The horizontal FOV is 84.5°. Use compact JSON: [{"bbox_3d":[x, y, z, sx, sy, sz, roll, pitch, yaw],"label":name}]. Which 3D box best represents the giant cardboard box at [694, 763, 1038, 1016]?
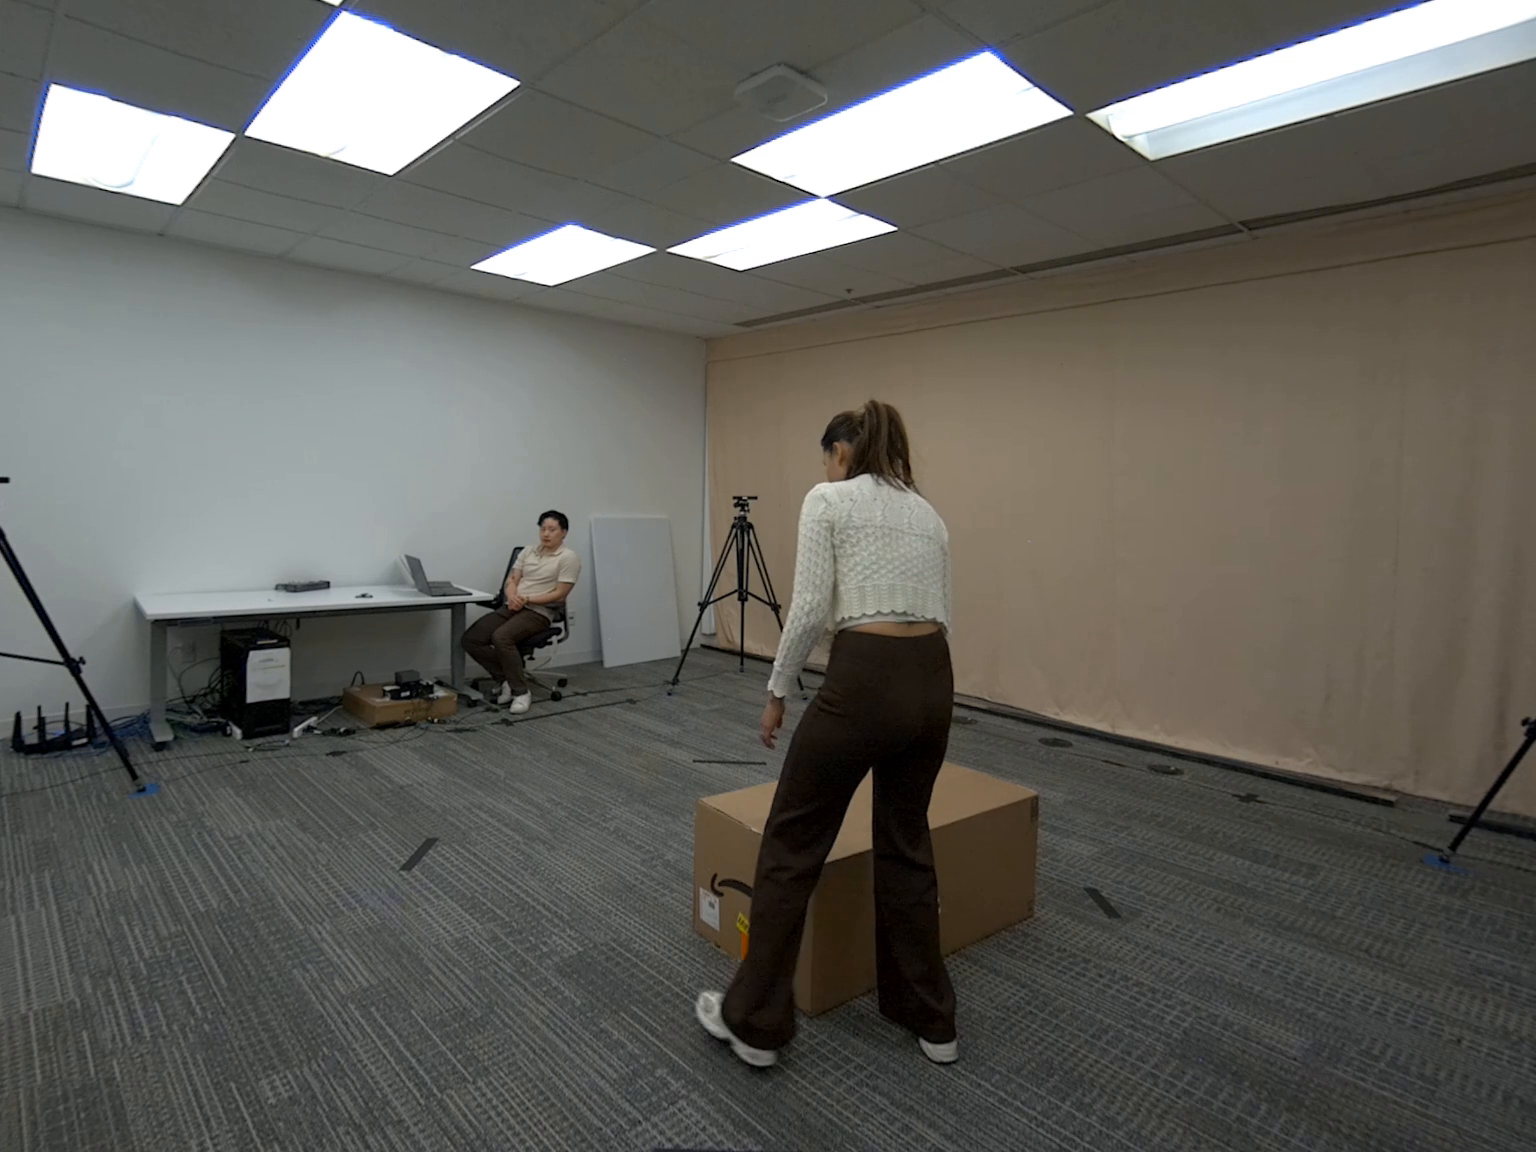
[{"bbox_3d":[0.329,0.933,2.773,1.003,0.425,0.592,-2,6,-37],"label":"giant cardboard box"}]
